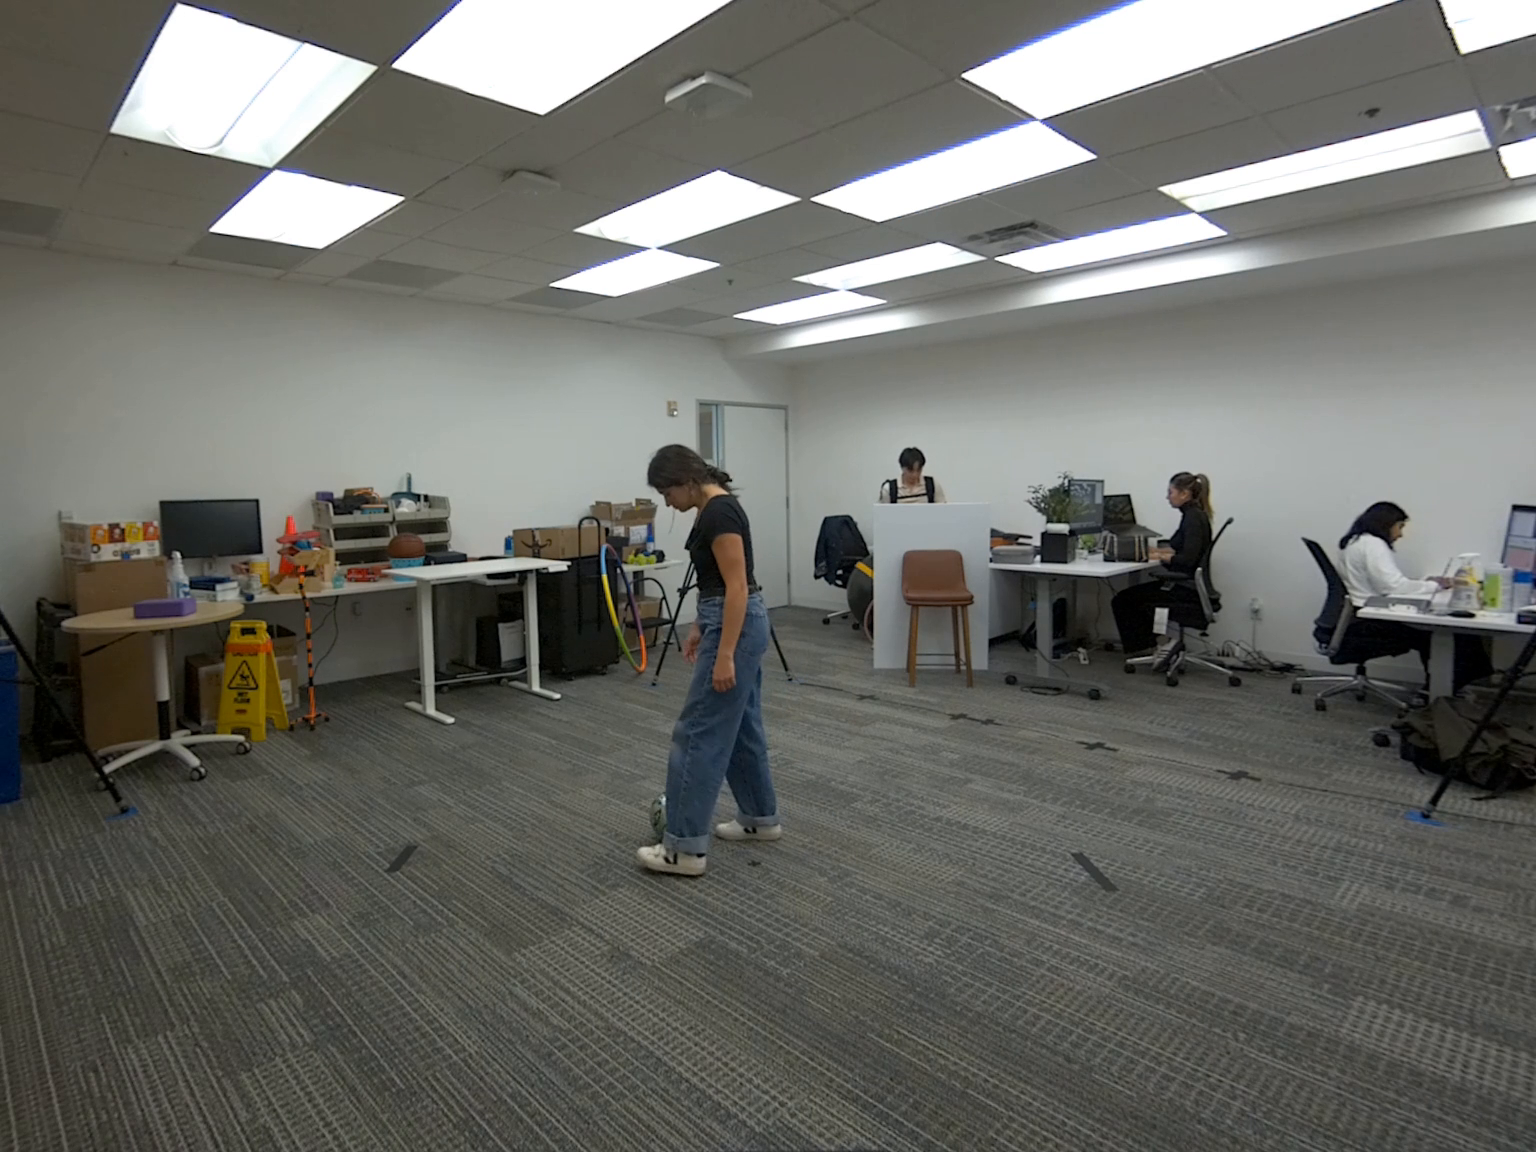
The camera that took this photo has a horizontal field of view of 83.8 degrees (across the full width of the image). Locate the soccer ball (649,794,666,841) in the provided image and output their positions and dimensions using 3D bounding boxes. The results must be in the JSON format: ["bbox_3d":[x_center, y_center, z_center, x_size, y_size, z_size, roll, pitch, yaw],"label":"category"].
[{"bbox_3d":[-0.361,0.931,3.331,0.187,0.187,0.188,-1,5,-2],"label":"soccer ball"}]
